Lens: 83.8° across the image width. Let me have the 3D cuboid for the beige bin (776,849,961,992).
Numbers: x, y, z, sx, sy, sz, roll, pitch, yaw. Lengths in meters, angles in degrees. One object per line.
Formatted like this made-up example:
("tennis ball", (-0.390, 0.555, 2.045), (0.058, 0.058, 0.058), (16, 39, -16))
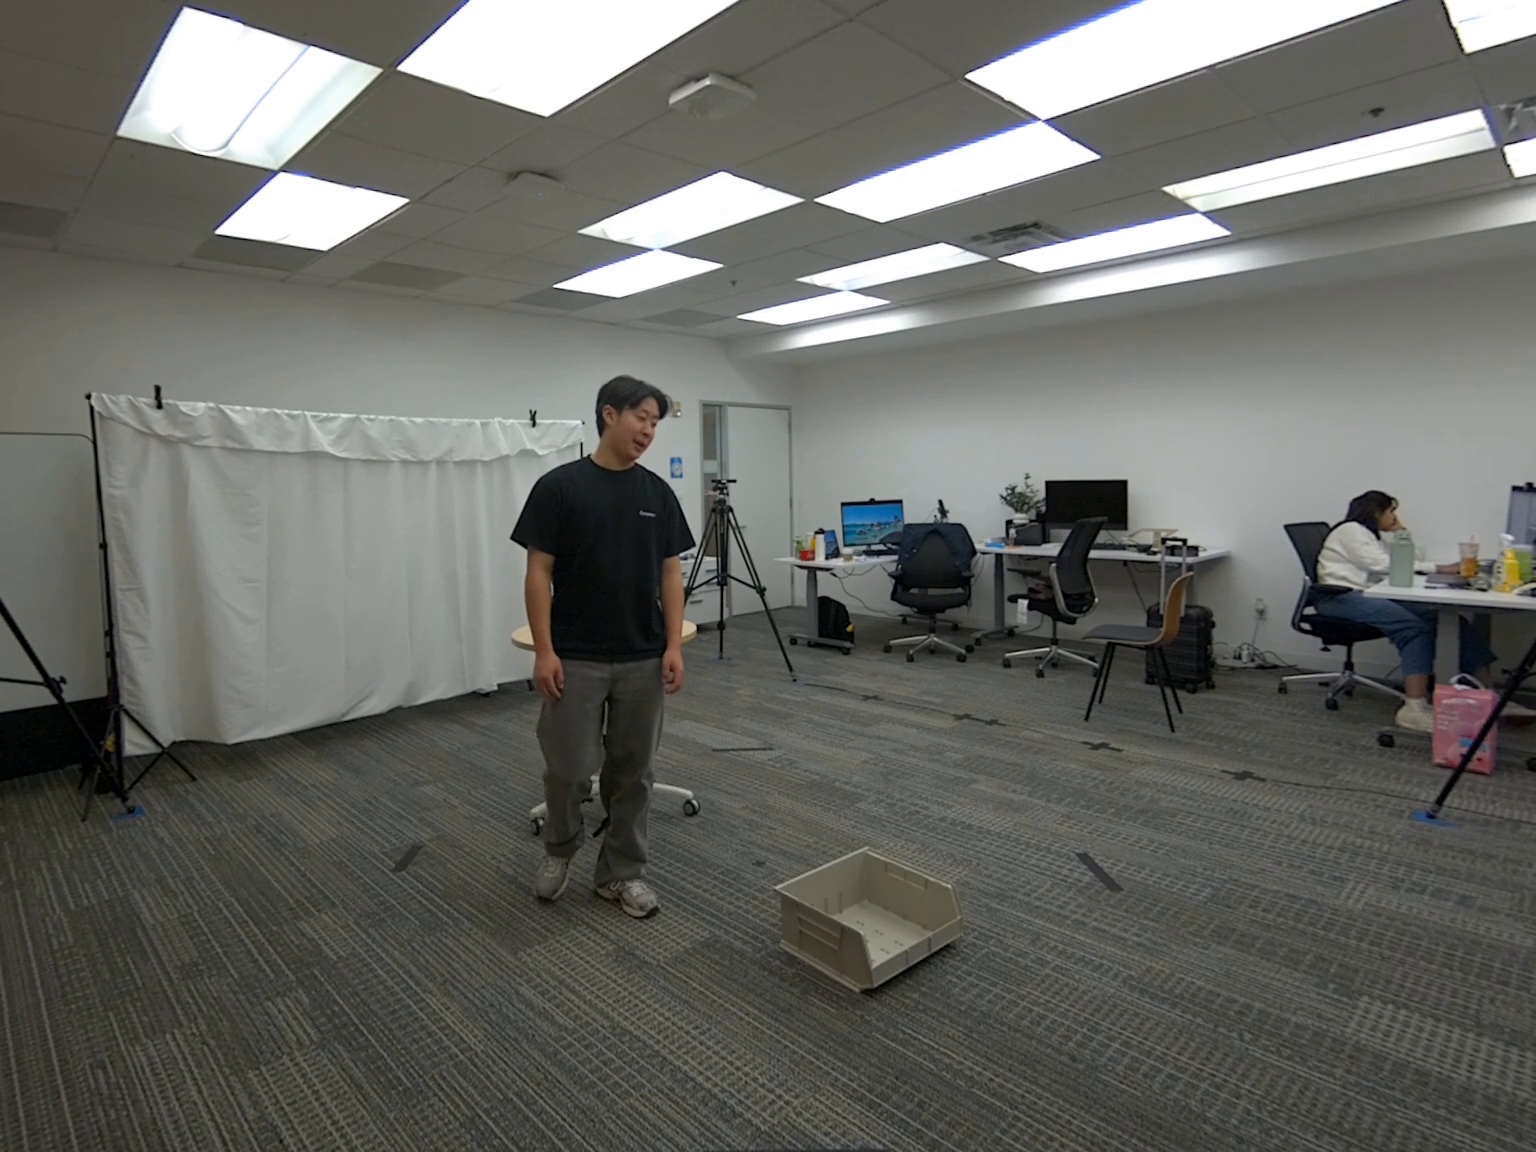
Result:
("beige bin", (0.304, 1.014, 2.542), (0.411, 0.188, 0.389), (-7, 7, -41))
